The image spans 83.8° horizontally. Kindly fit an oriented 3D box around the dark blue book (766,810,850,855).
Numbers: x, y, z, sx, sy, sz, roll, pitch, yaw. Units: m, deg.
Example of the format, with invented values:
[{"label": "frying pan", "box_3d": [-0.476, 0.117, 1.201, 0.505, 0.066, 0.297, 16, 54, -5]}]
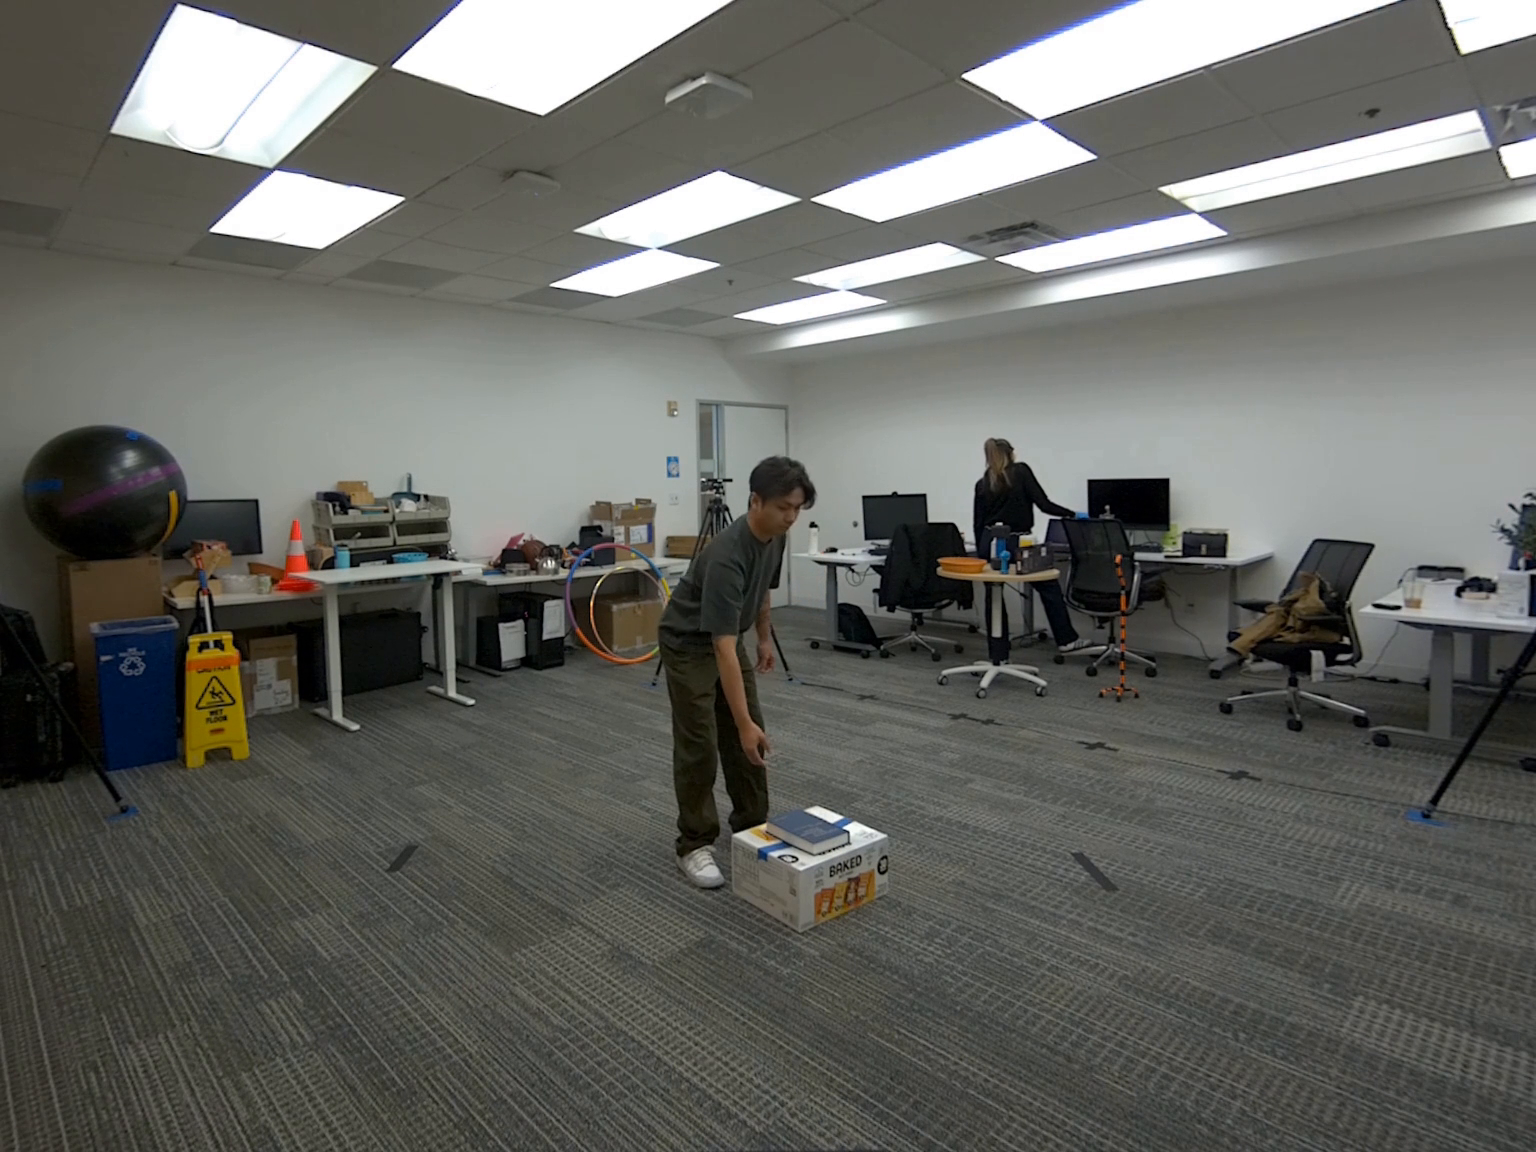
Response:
[{"label": "dark blue book", "box_3d": [0.136, 0.858, 2.846, 0.159, 0.045, 0.252, -6, 8, -38]}]
